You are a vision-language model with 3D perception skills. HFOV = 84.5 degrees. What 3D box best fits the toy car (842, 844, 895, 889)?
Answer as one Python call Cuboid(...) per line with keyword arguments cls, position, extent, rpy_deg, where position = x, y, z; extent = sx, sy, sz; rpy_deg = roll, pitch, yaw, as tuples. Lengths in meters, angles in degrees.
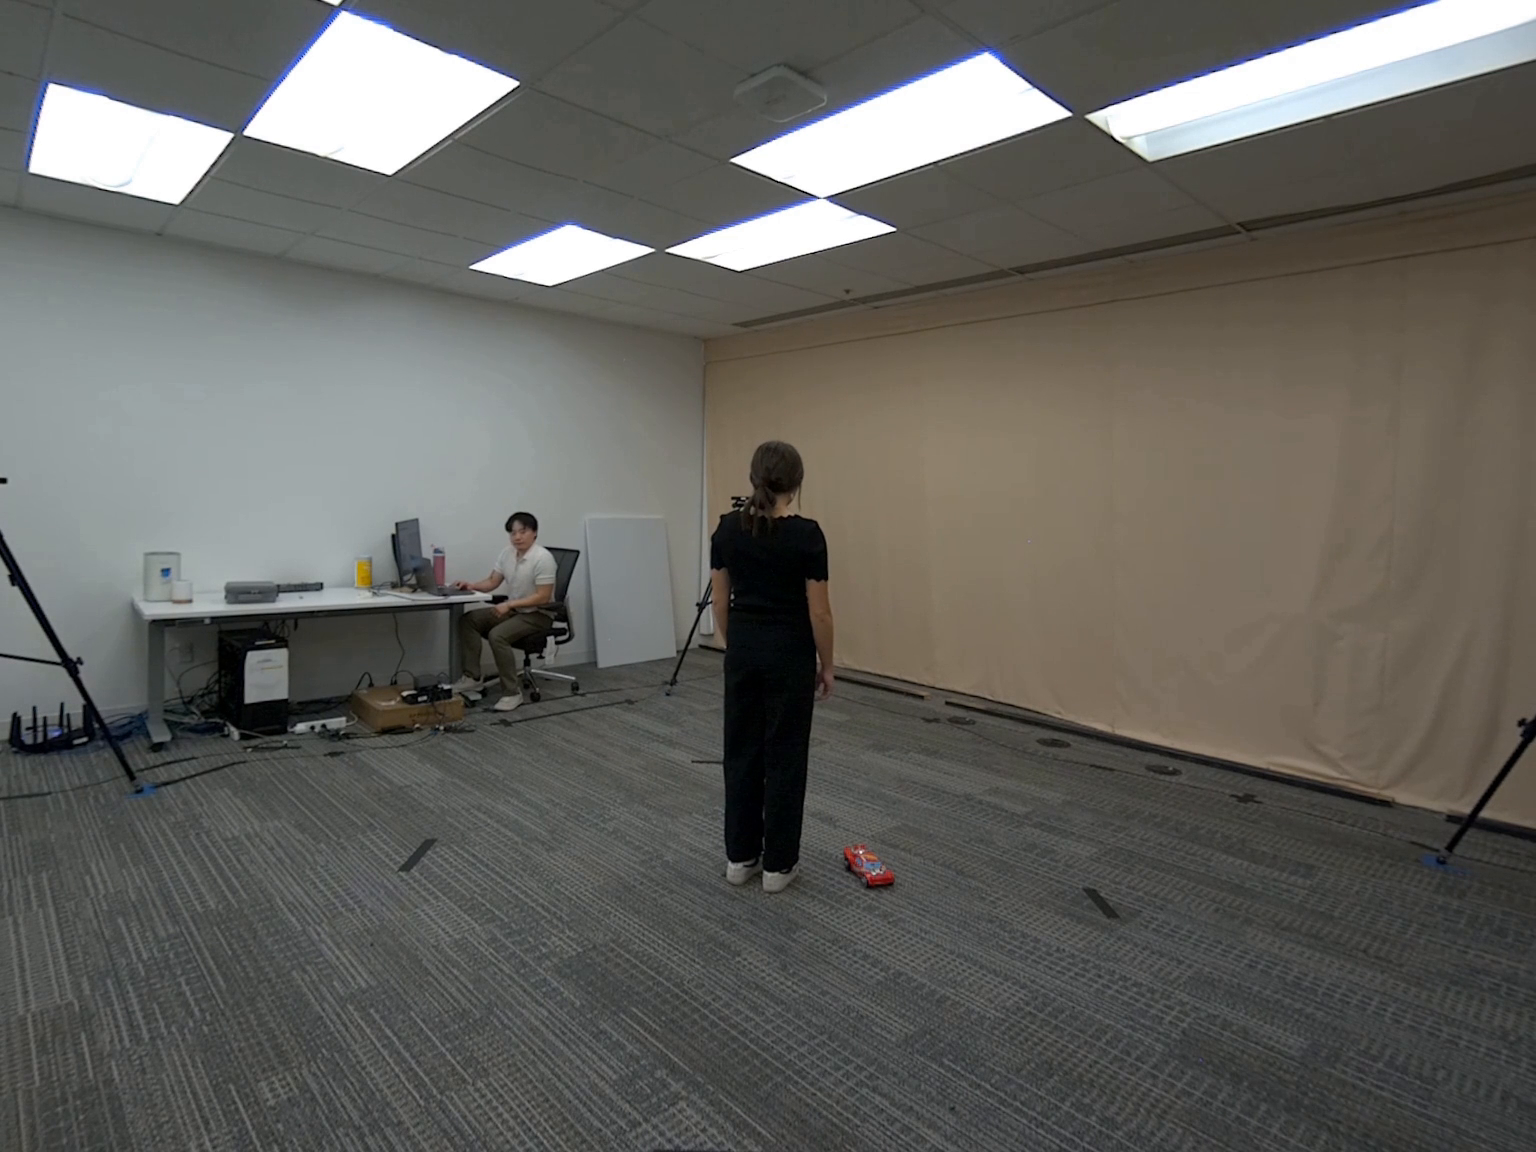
Cuboid(cls="toy car", position=(0.358, 1.081, 3.138), extent=(0.128, 0.082, 0.260), rpy_deg=(0, 16, -19))
